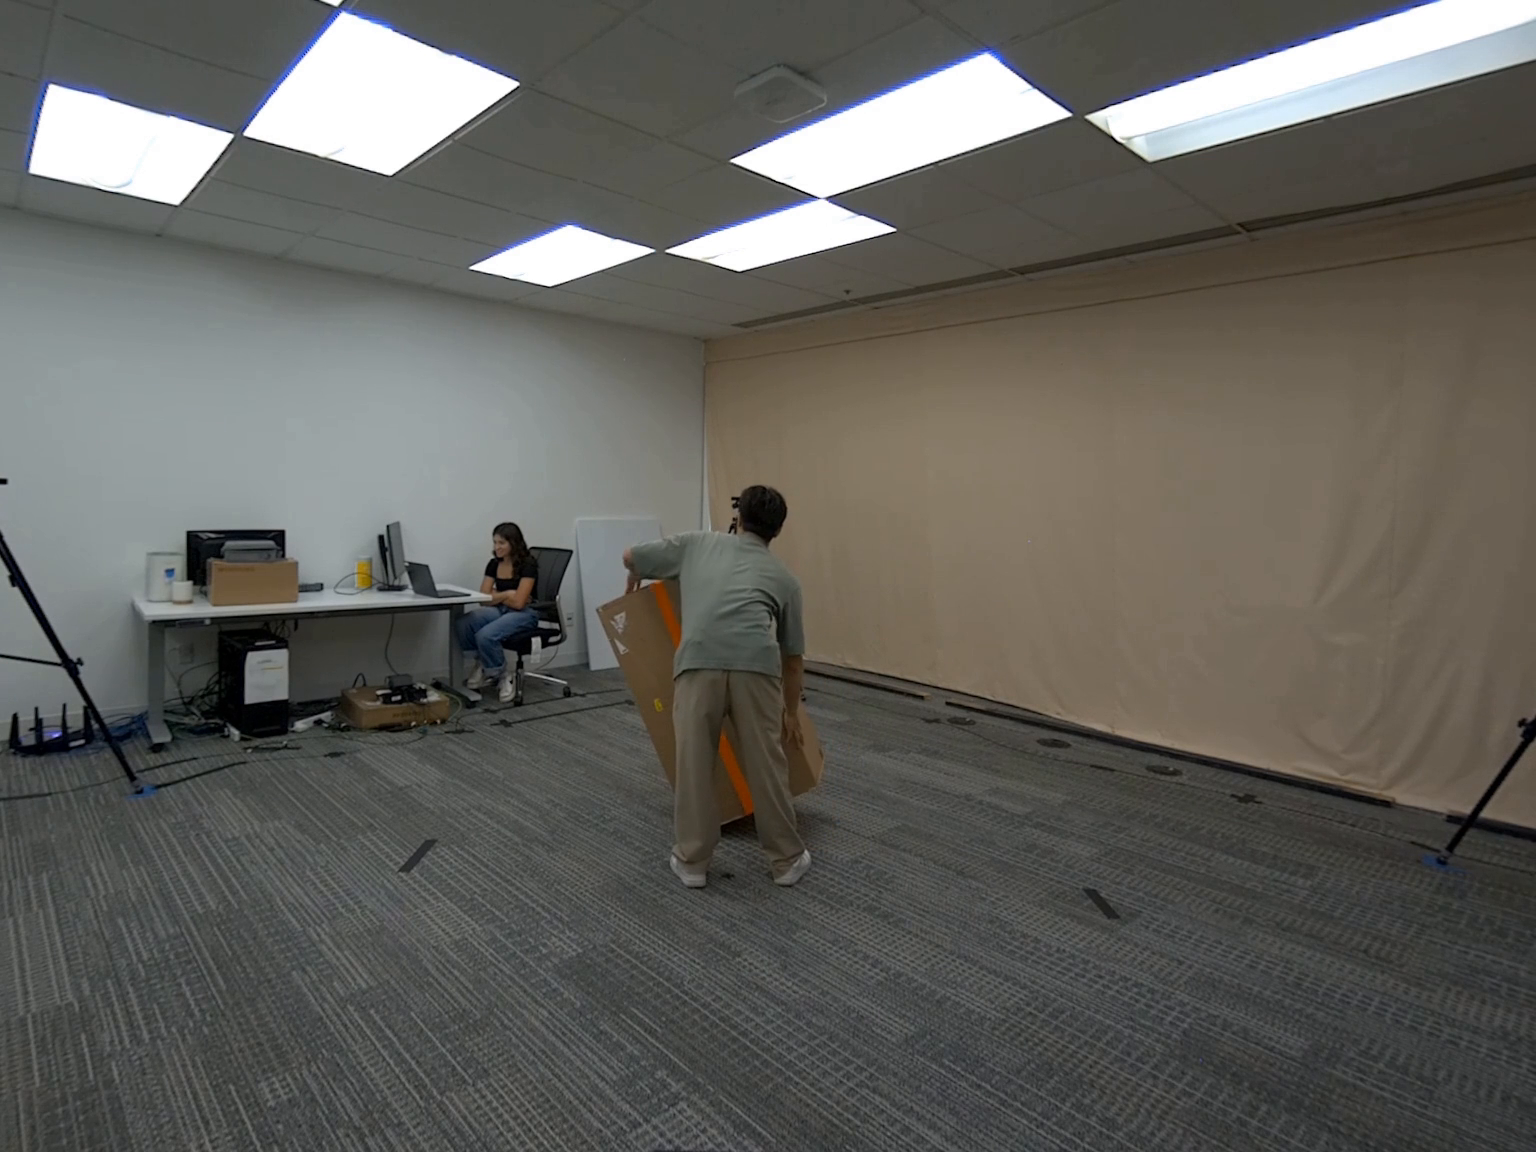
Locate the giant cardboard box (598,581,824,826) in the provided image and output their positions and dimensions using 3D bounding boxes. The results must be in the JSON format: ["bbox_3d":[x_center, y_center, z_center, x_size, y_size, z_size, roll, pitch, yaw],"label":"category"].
[{"bbox_3d":[-0.234,0.476,3.635,0.580,1.027,0.423,-23,-1,10],"label":"giant cardboard box"}]
